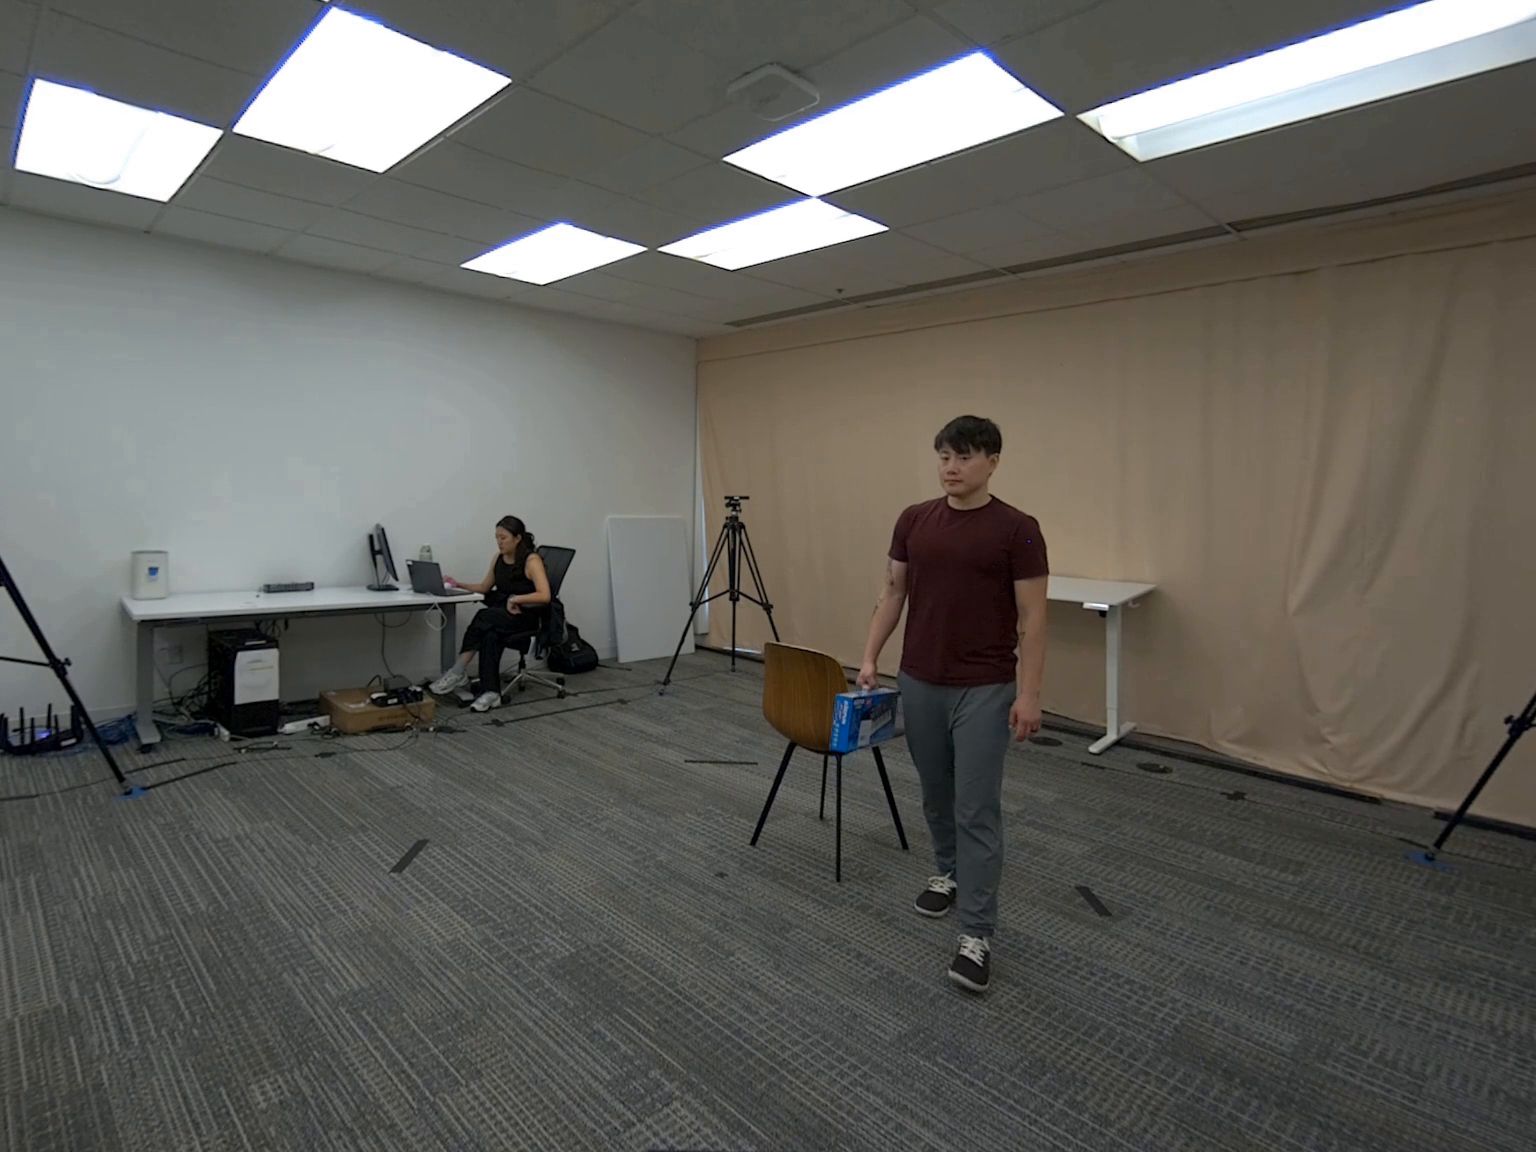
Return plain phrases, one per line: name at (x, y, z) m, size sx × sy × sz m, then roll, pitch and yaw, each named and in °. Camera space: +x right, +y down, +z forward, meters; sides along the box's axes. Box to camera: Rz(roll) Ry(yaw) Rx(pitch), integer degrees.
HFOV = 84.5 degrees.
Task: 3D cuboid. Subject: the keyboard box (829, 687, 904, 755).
keyboard box at (0.321, 0.470, 2.789) m, size 0.060 × 0.176 × 0.426 m, roll 6°, pitch -2°, yaw 30°
